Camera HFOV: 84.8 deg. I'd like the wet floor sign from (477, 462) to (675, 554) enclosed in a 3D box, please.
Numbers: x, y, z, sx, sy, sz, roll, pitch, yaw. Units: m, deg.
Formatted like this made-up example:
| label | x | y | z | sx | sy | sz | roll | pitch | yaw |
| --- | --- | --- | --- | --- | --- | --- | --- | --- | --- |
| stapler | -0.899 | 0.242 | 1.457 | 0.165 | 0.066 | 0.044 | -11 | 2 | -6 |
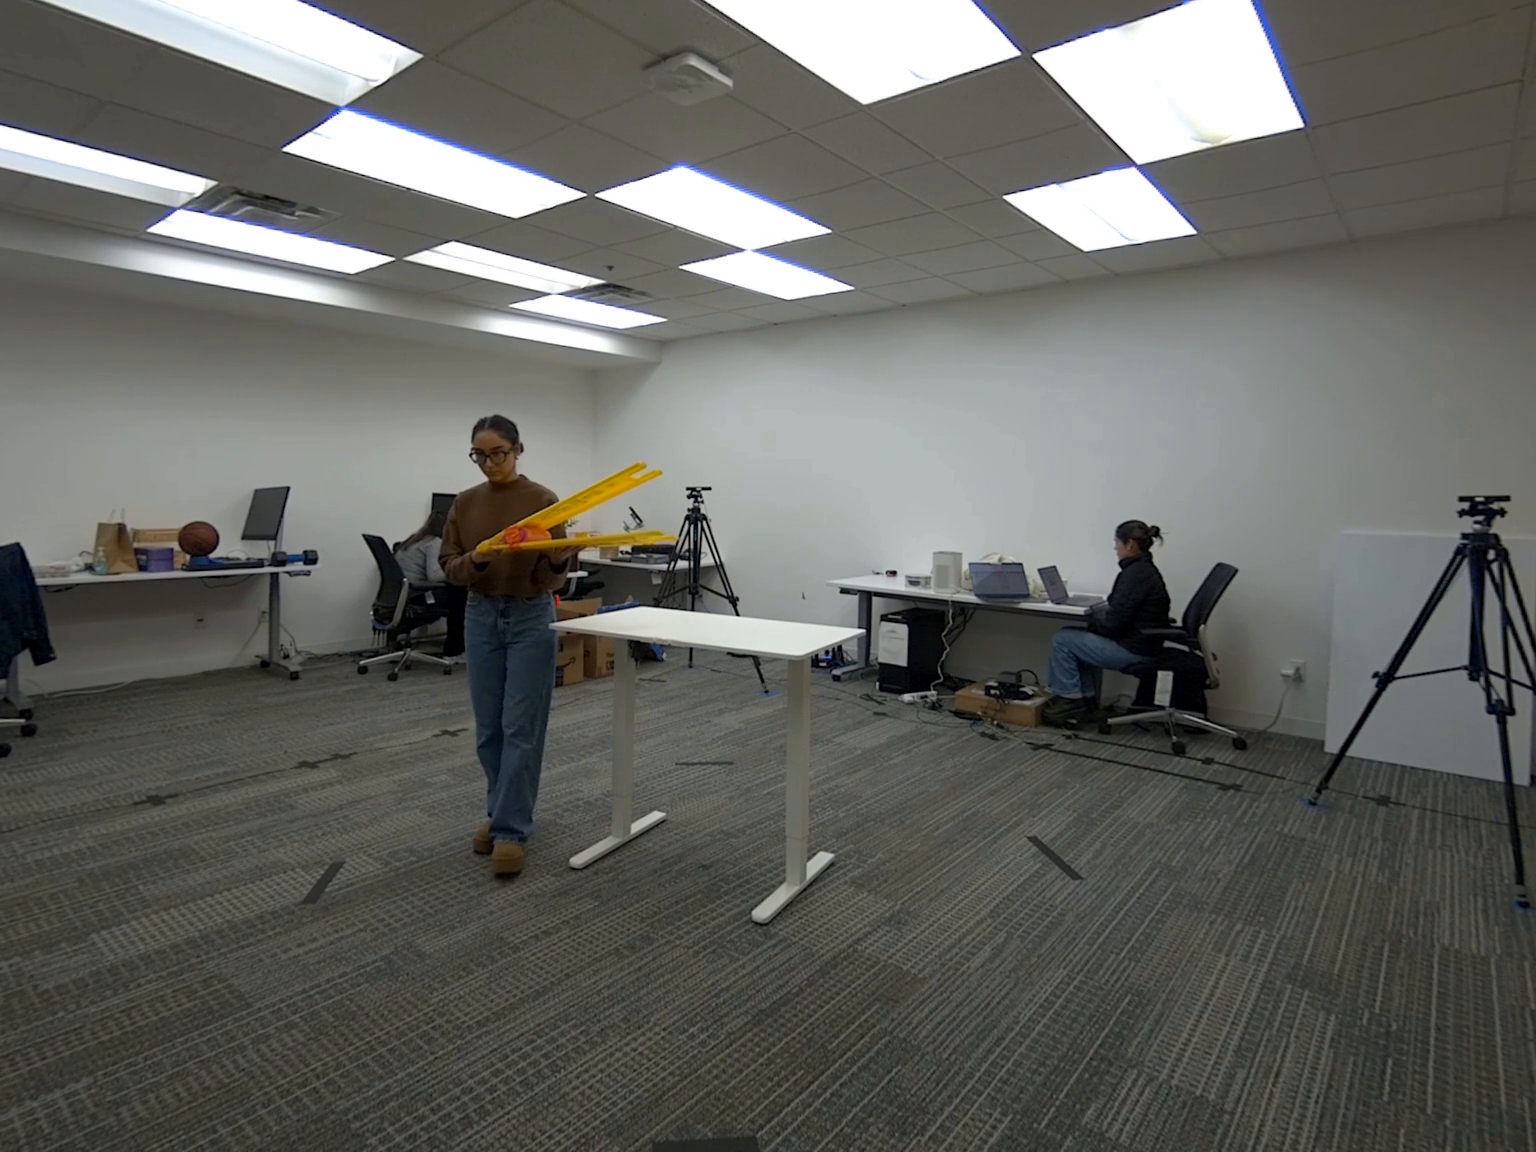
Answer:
| label | x | y | z | sx | sy | sz | roll | pitch | yaw |
| --- | --- | --- | --- | --- | --- | --- | --- | --- | --- |
| wet floor sign | -0.687 | -0.172 | 2.917 | 0.651 | 0.292 | 0.278 | -13 | -5 | 9 |
